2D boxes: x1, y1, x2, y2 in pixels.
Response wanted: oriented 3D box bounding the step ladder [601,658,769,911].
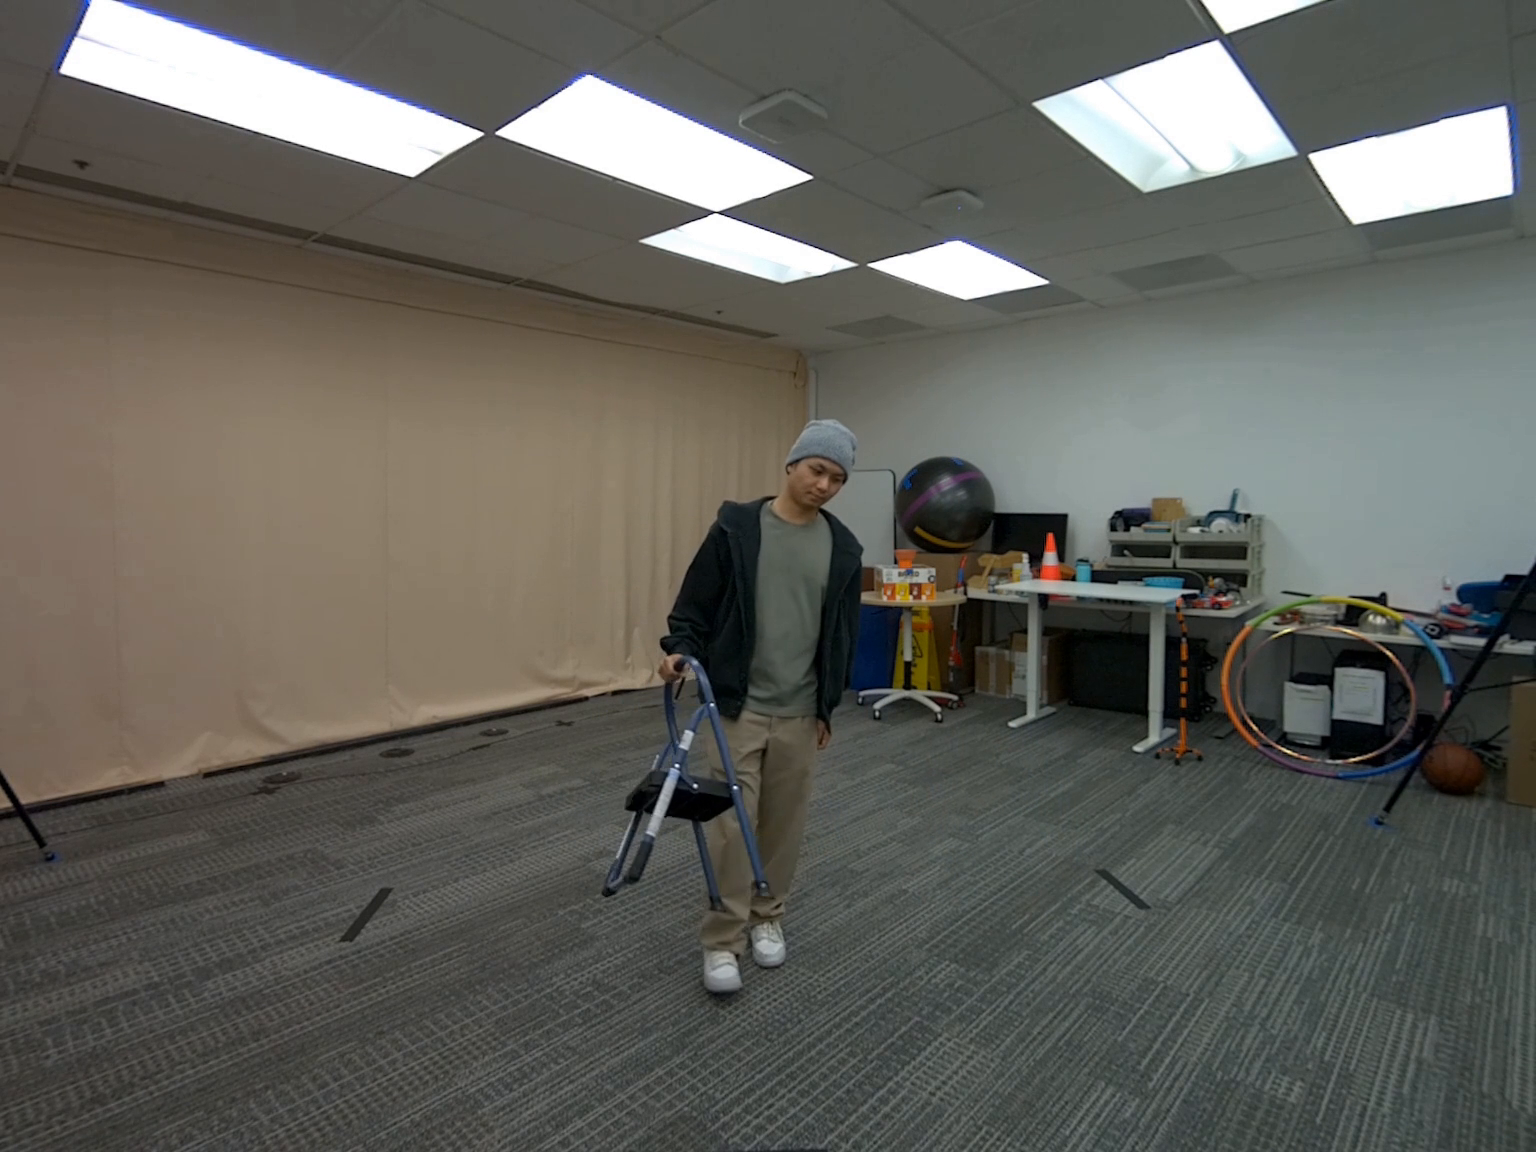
[{"bbox_3d":[-0.201,0.545,2.256,0.344,0.614,0.432,13,-29,-15],"label":"step ladder"}]
